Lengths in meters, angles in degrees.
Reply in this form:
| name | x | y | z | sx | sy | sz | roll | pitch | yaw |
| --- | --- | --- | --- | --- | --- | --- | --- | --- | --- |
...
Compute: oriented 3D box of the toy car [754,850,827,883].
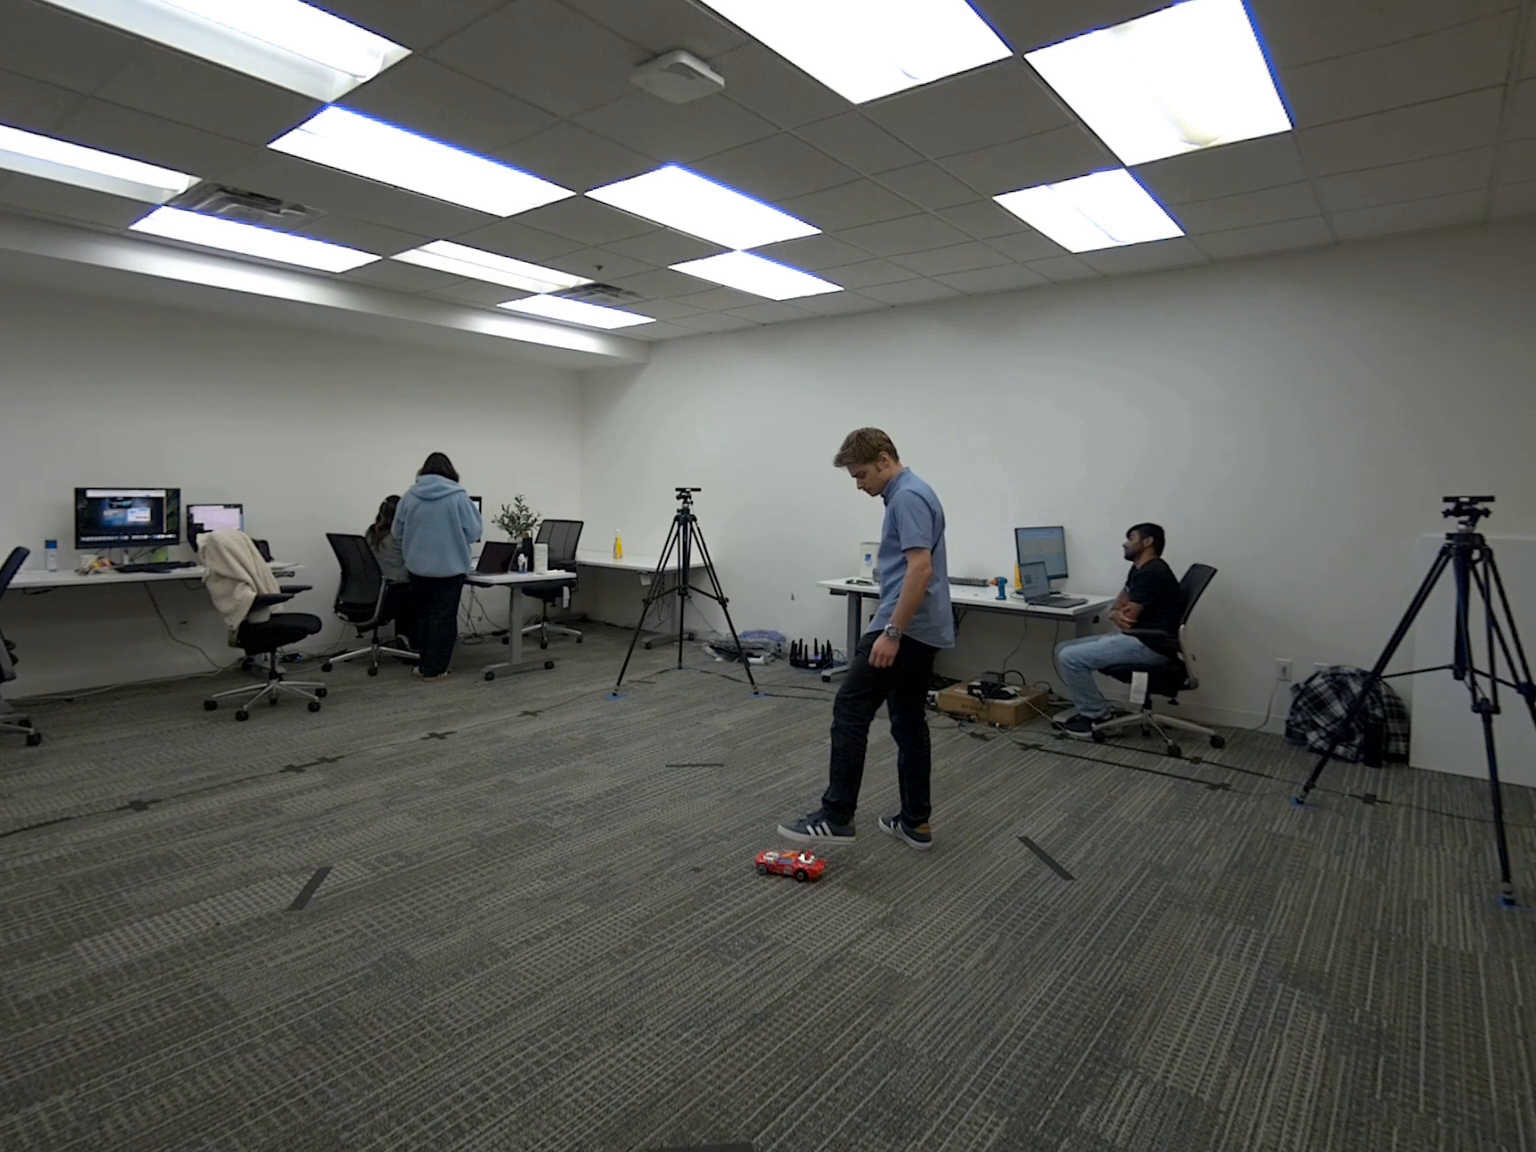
| name | x | y | z | sx | sy | sz | roll | pitch | yaw |
| --- | --- | --- | --- | --- | --- | --- | --- | --- | --- |
| toy car | 0.082 | 1.044 | 3.087 | 0.259 | 0.083 | 0.128 | -8 | 1 | 19 |
